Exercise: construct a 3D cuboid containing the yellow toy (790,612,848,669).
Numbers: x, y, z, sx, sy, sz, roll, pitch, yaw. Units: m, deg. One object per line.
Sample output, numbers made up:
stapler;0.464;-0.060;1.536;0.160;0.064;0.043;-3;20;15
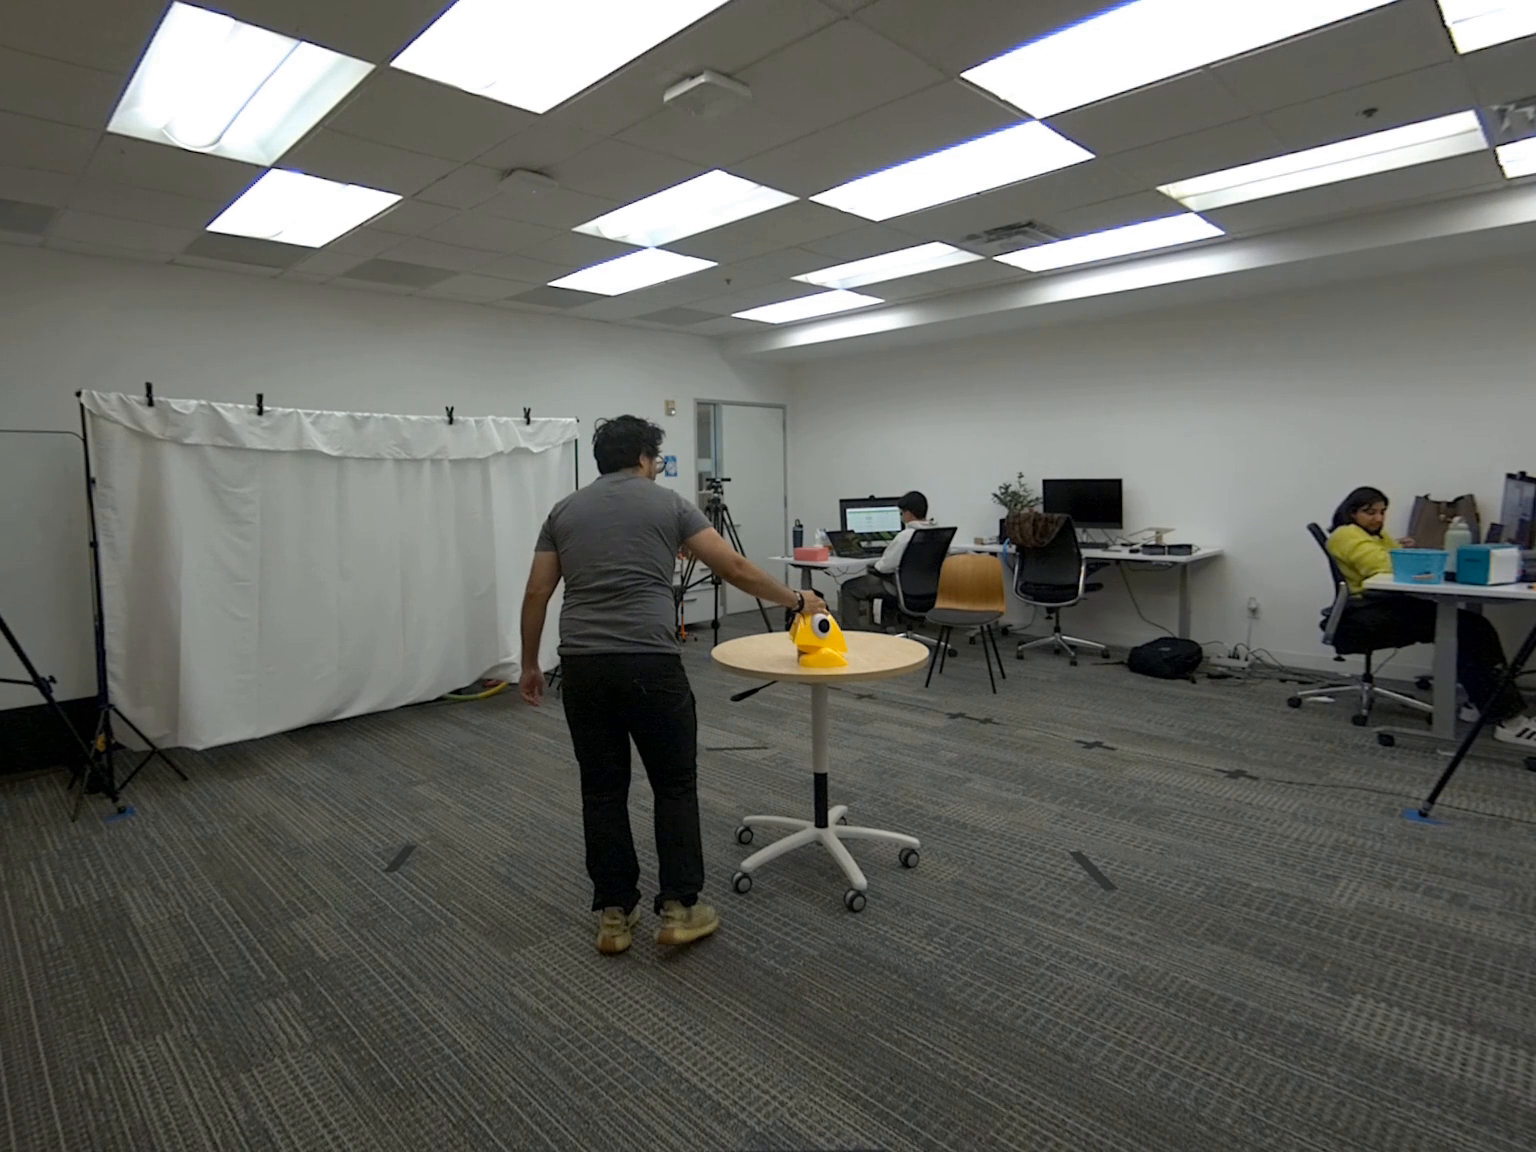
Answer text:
yellow toy;0.172;0.169;2.852;0.193;0.230;0.205;-3;4;0
